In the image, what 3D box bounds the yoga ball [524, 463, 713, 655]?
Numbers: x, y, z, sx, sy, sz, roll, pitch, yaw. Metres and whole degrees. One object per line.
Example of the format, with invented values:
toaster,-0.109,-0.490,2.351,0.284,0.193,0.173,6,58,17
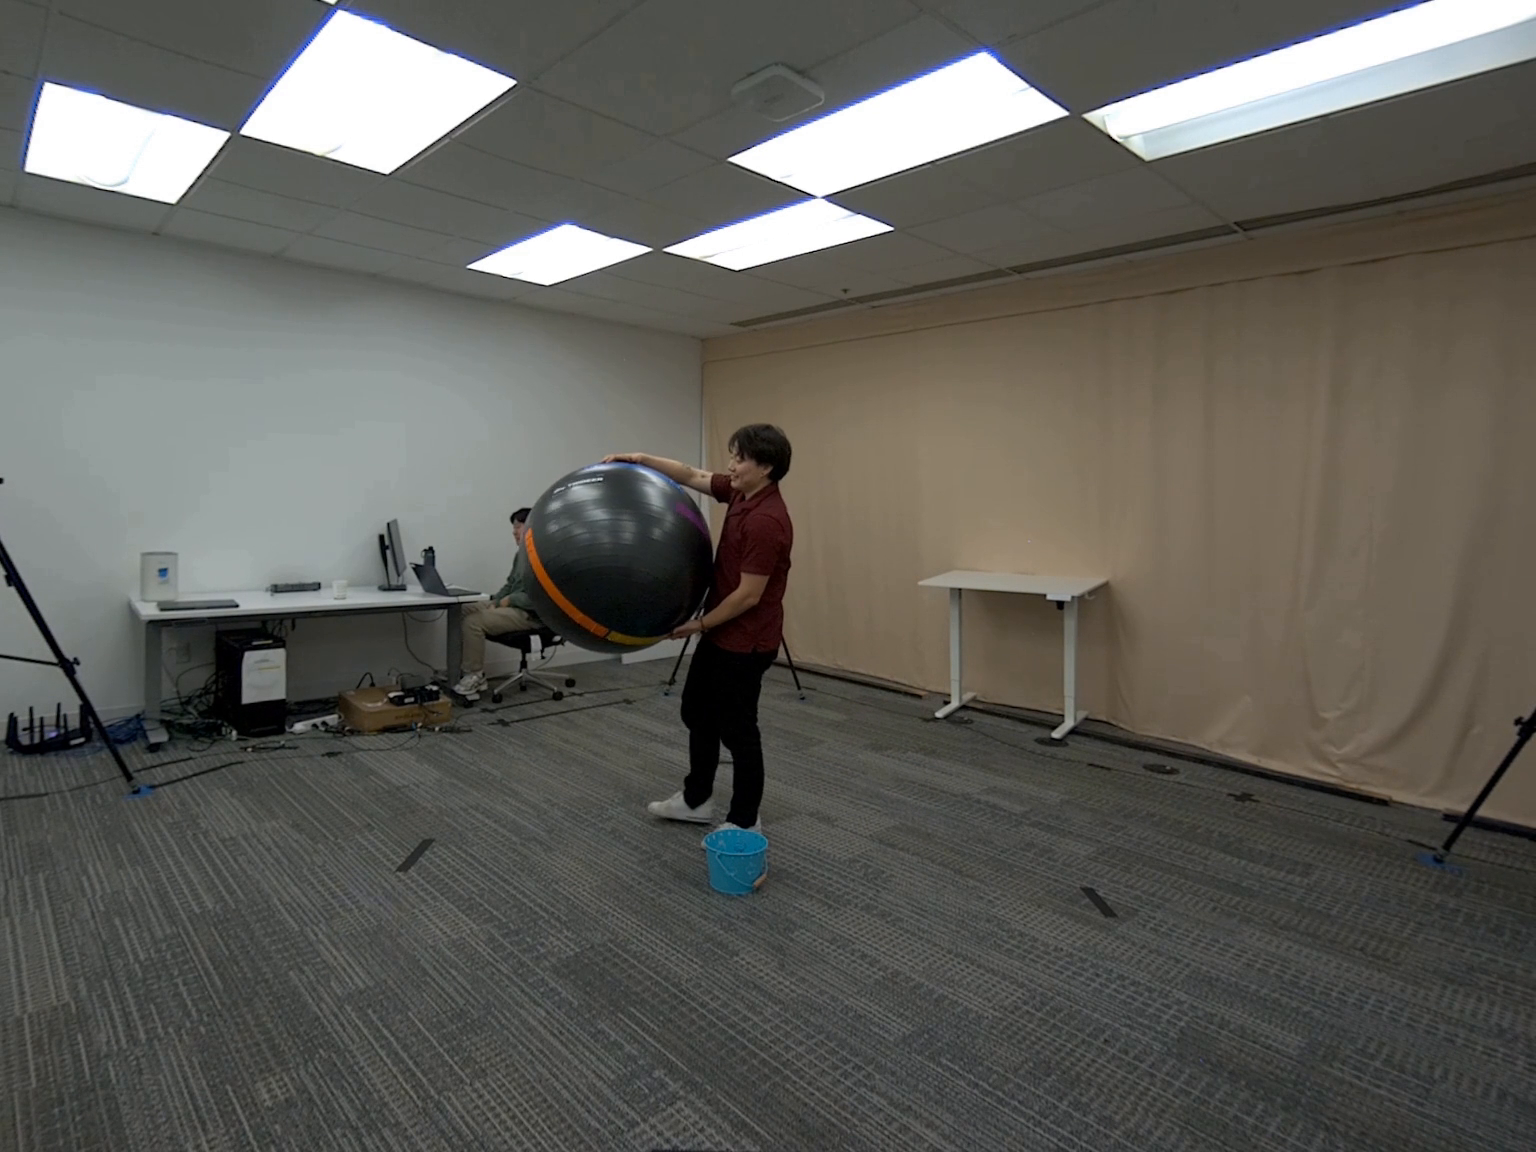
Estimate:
yoga ball,-0.618,-0.072,3.343,0.757,0.756,0.761,1,4,-1
